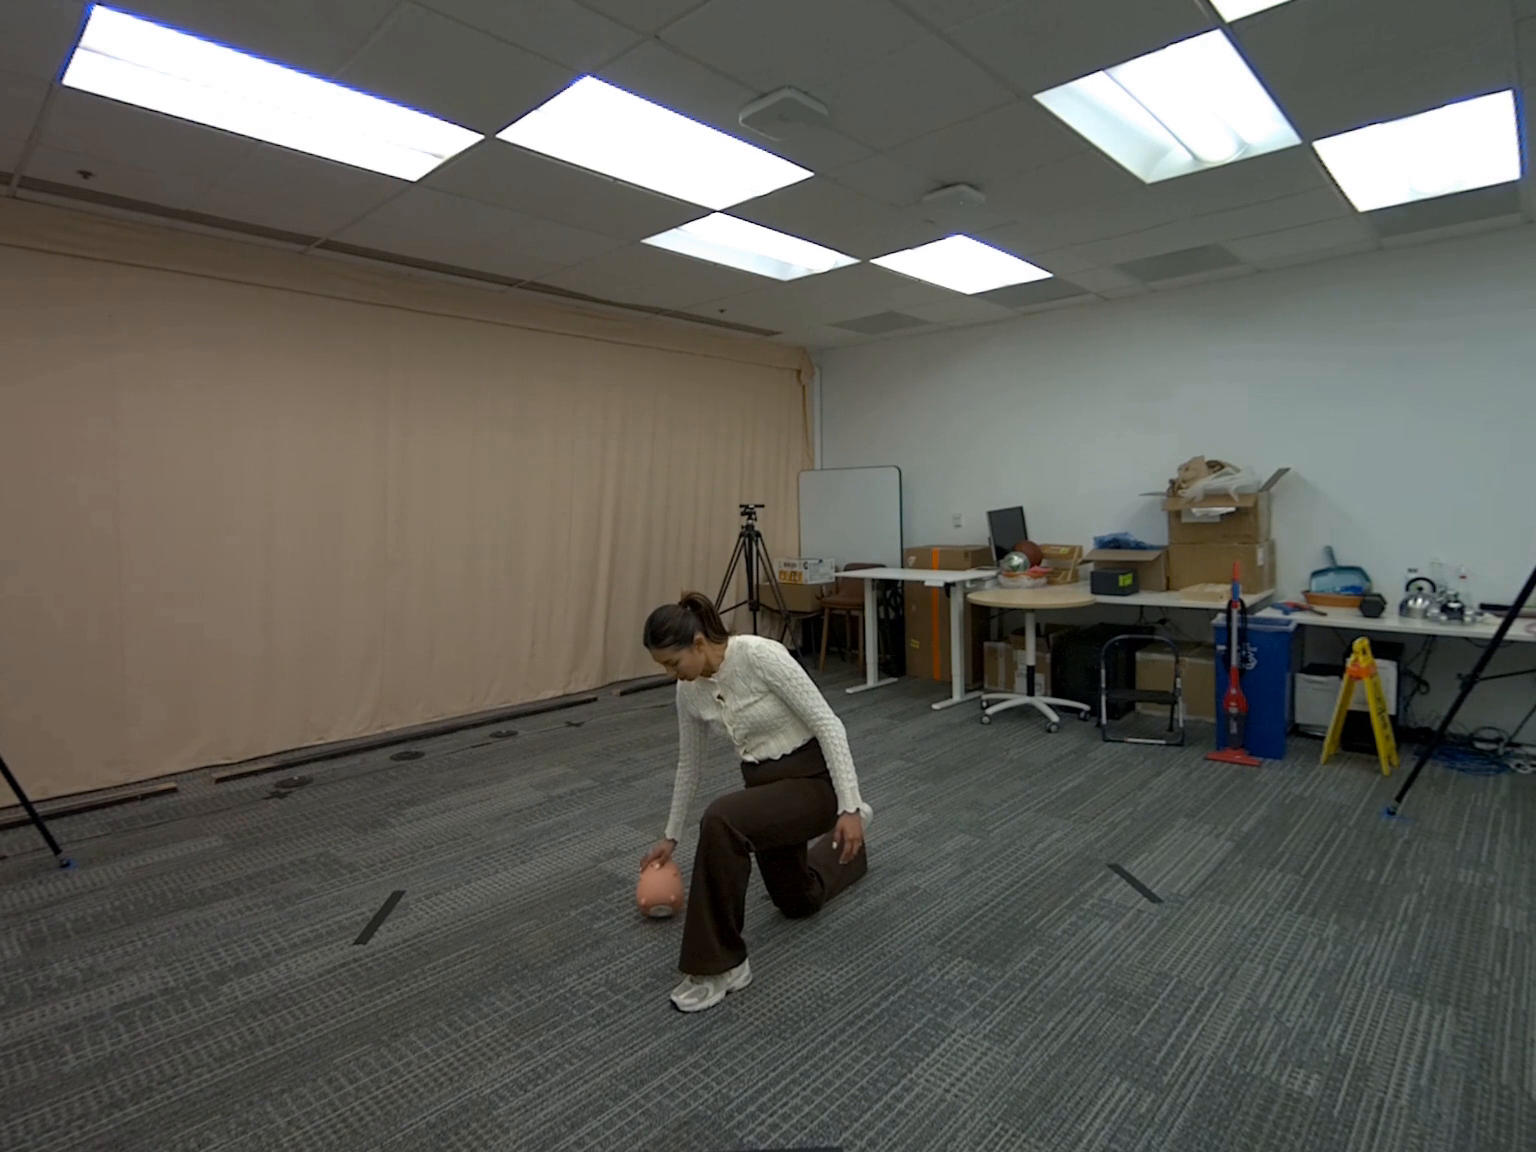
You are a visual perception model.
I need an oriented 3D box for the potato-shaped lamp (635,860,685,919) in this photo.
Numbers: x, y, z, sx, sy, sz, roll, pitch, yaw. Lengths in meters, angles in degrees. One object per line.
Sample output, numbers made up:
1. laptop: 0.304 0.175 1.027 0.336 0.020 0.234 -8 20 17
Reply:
1. potato-shaped lamp: -0.372 1.056 2.877 0.165 0.167 0.203 -10 47 0
